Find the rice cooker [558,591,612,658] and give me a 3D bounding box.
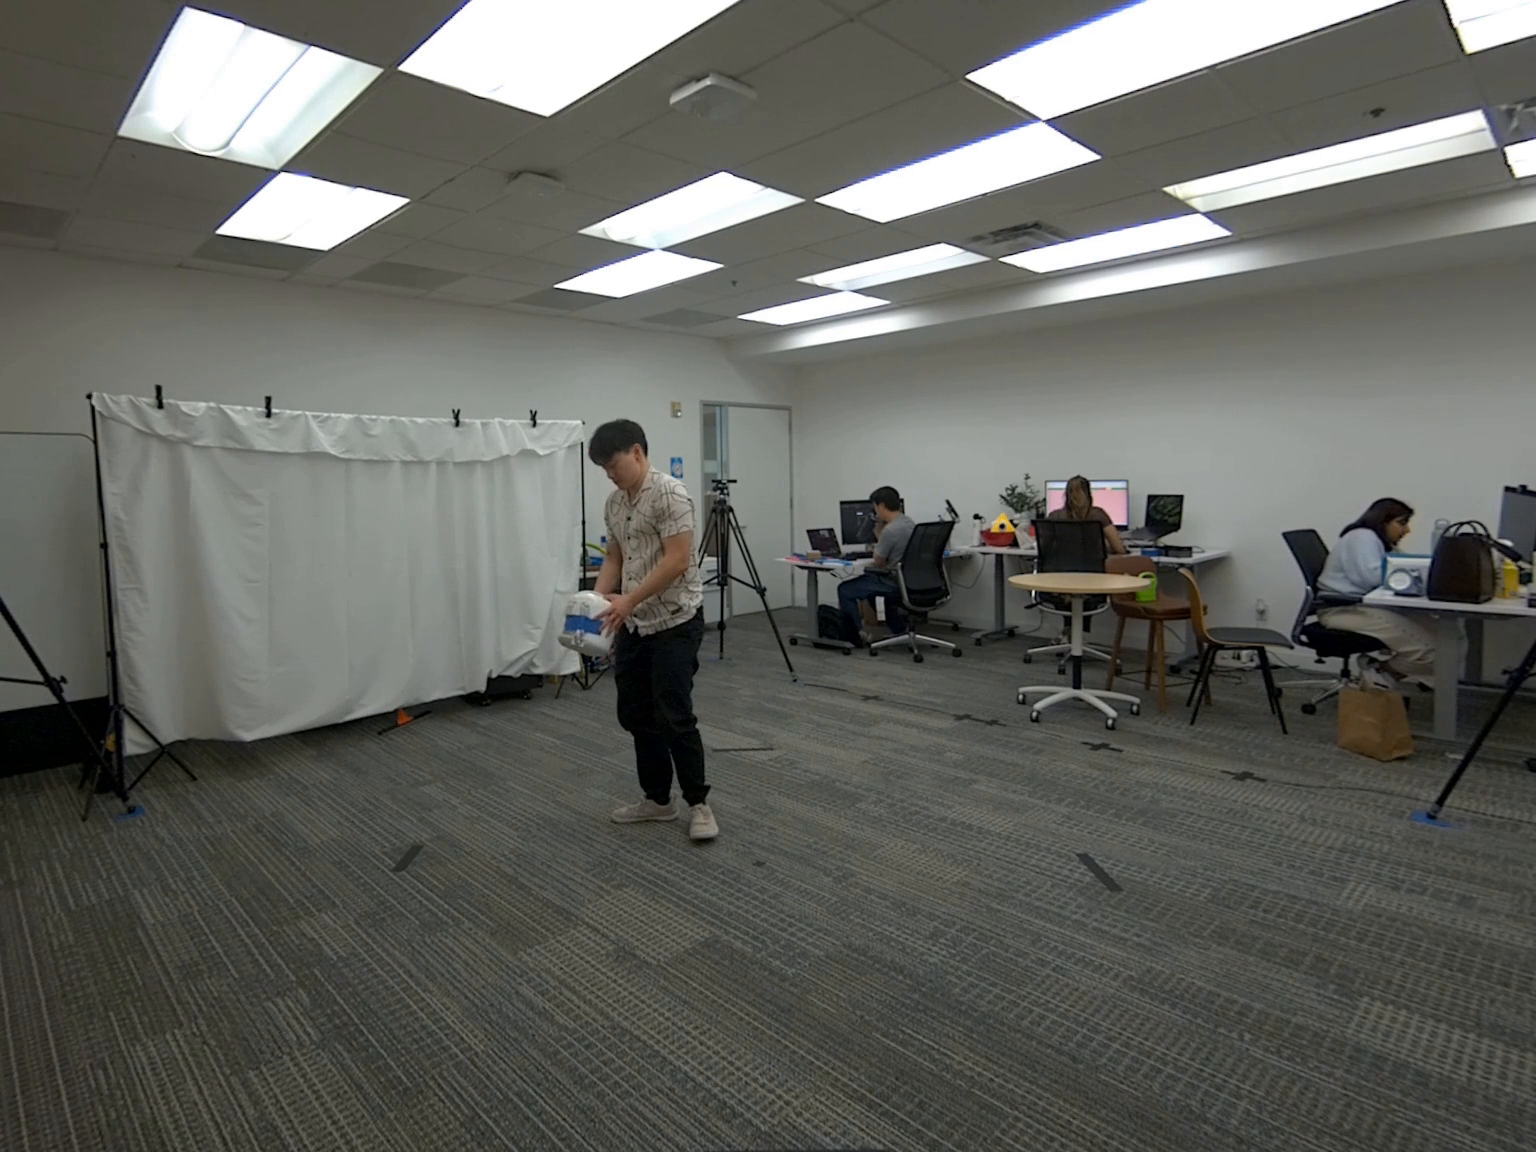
[{"bbox_3d":[-0.691,0.178,3.279,0.223,0.235,0.212,-2,-24,47],"label":"rice cooker"}]
